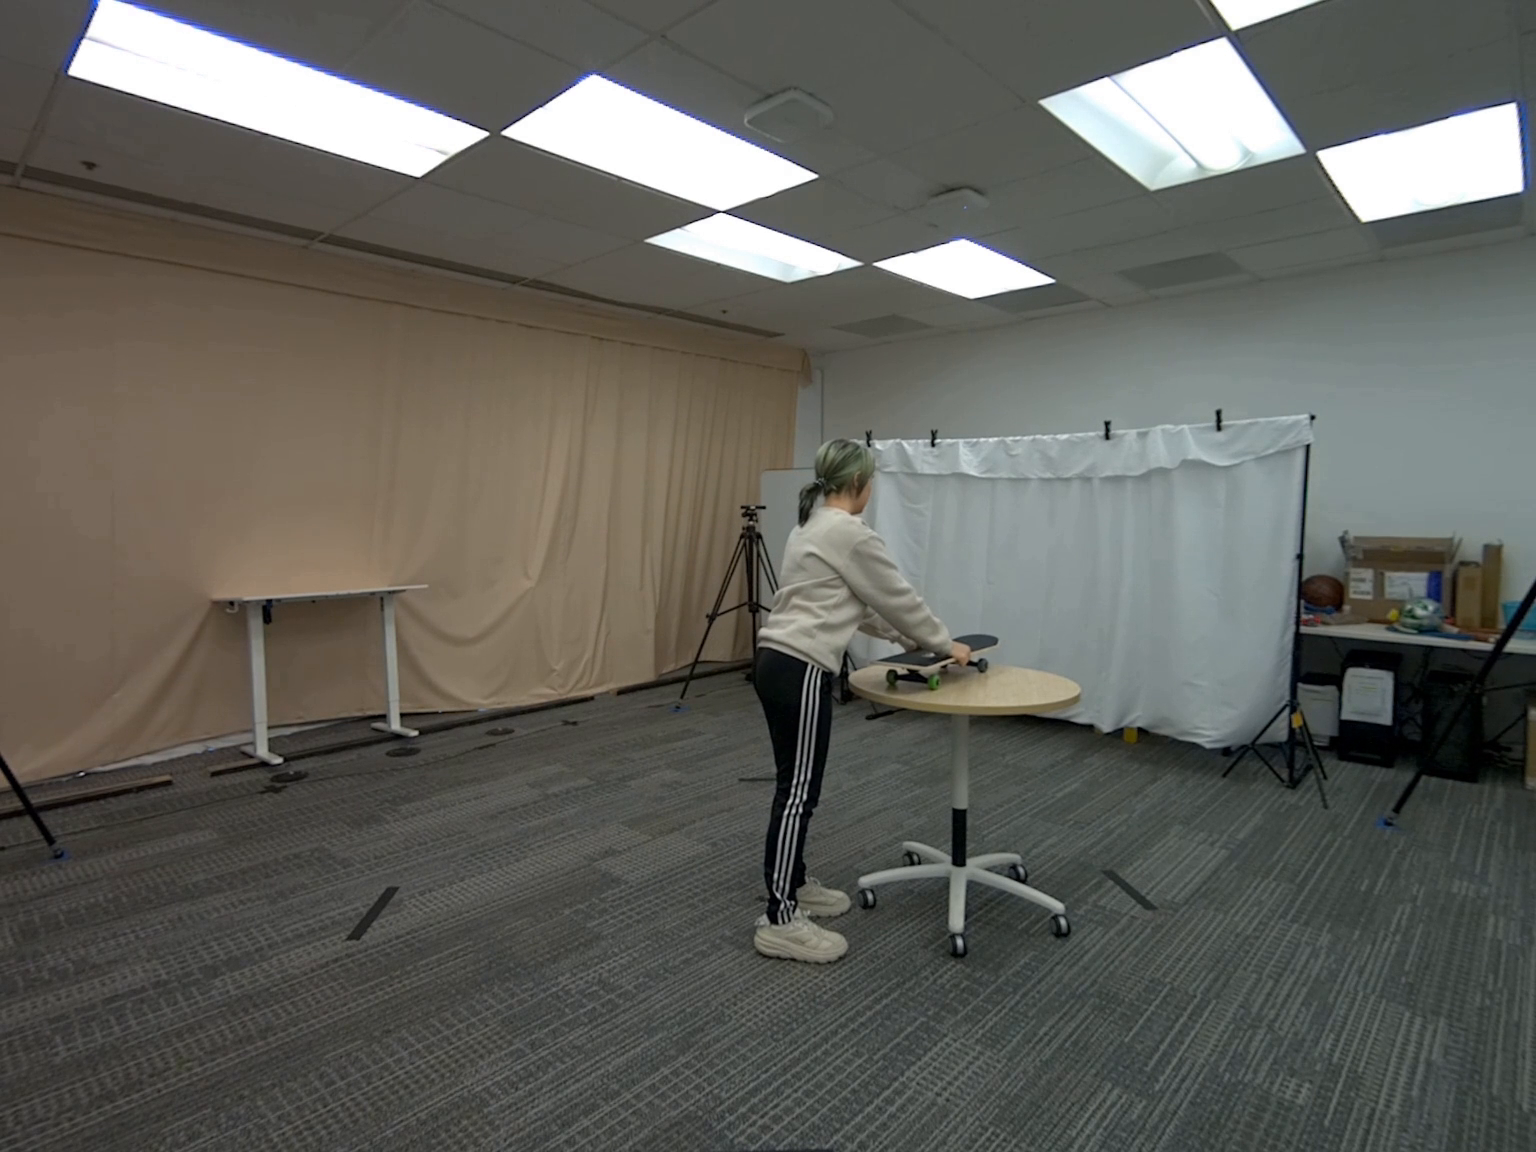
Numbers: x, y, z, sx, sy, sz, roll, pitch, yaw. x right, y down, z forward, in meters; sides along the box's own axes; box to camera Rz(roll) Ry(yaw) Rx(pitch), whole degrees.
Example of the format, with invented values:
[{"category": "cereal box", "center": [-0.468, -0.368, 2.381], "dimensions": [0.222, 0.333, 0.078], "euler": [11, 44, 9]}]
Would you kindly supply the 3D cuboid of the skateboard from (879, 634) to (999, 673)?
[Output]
[{"category": "skateboard", "center": [0.606, 0.311, 2.960], "dimensions": [0.199, 0.110, 0.762], "euler": [-1, 4, 38]}]
